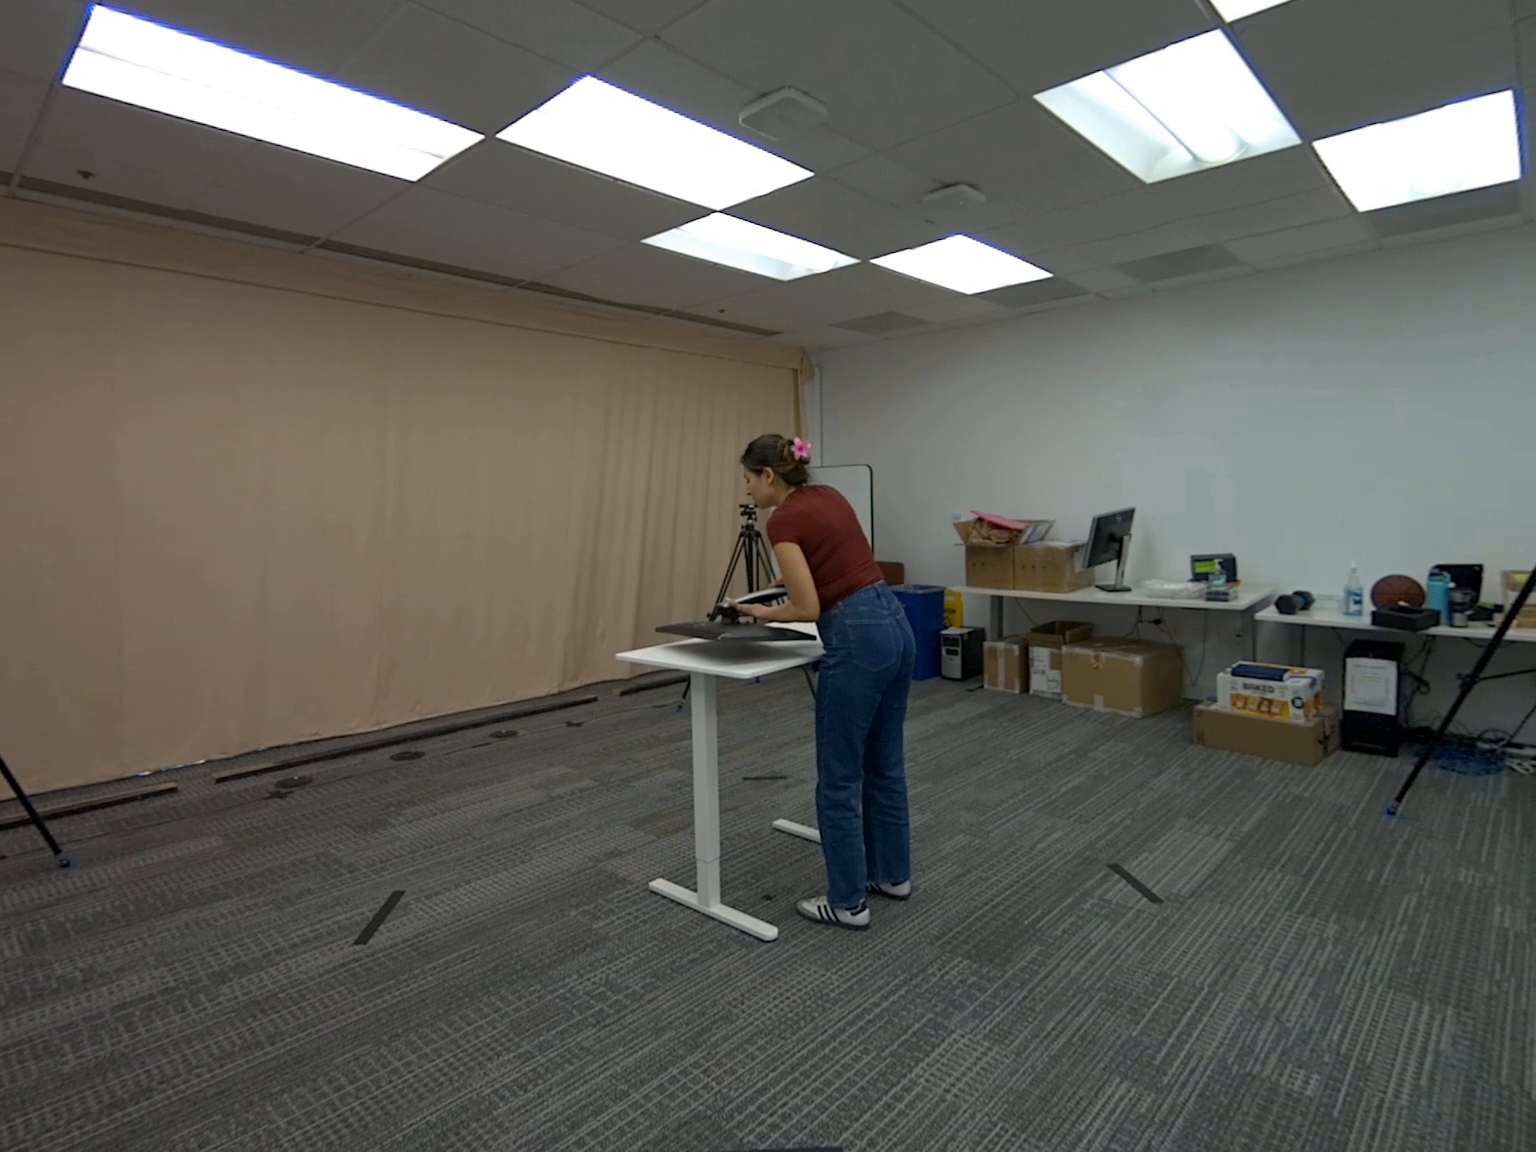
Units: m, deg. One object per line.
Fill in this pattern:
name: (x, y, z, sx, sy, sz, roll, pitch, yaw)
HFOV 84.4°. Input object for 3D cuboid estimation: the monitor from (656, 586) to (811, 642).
monitor: (-0.058, 0.138, 2.975, 0.511, 0.186, 0.553, -18, 7, -29)
